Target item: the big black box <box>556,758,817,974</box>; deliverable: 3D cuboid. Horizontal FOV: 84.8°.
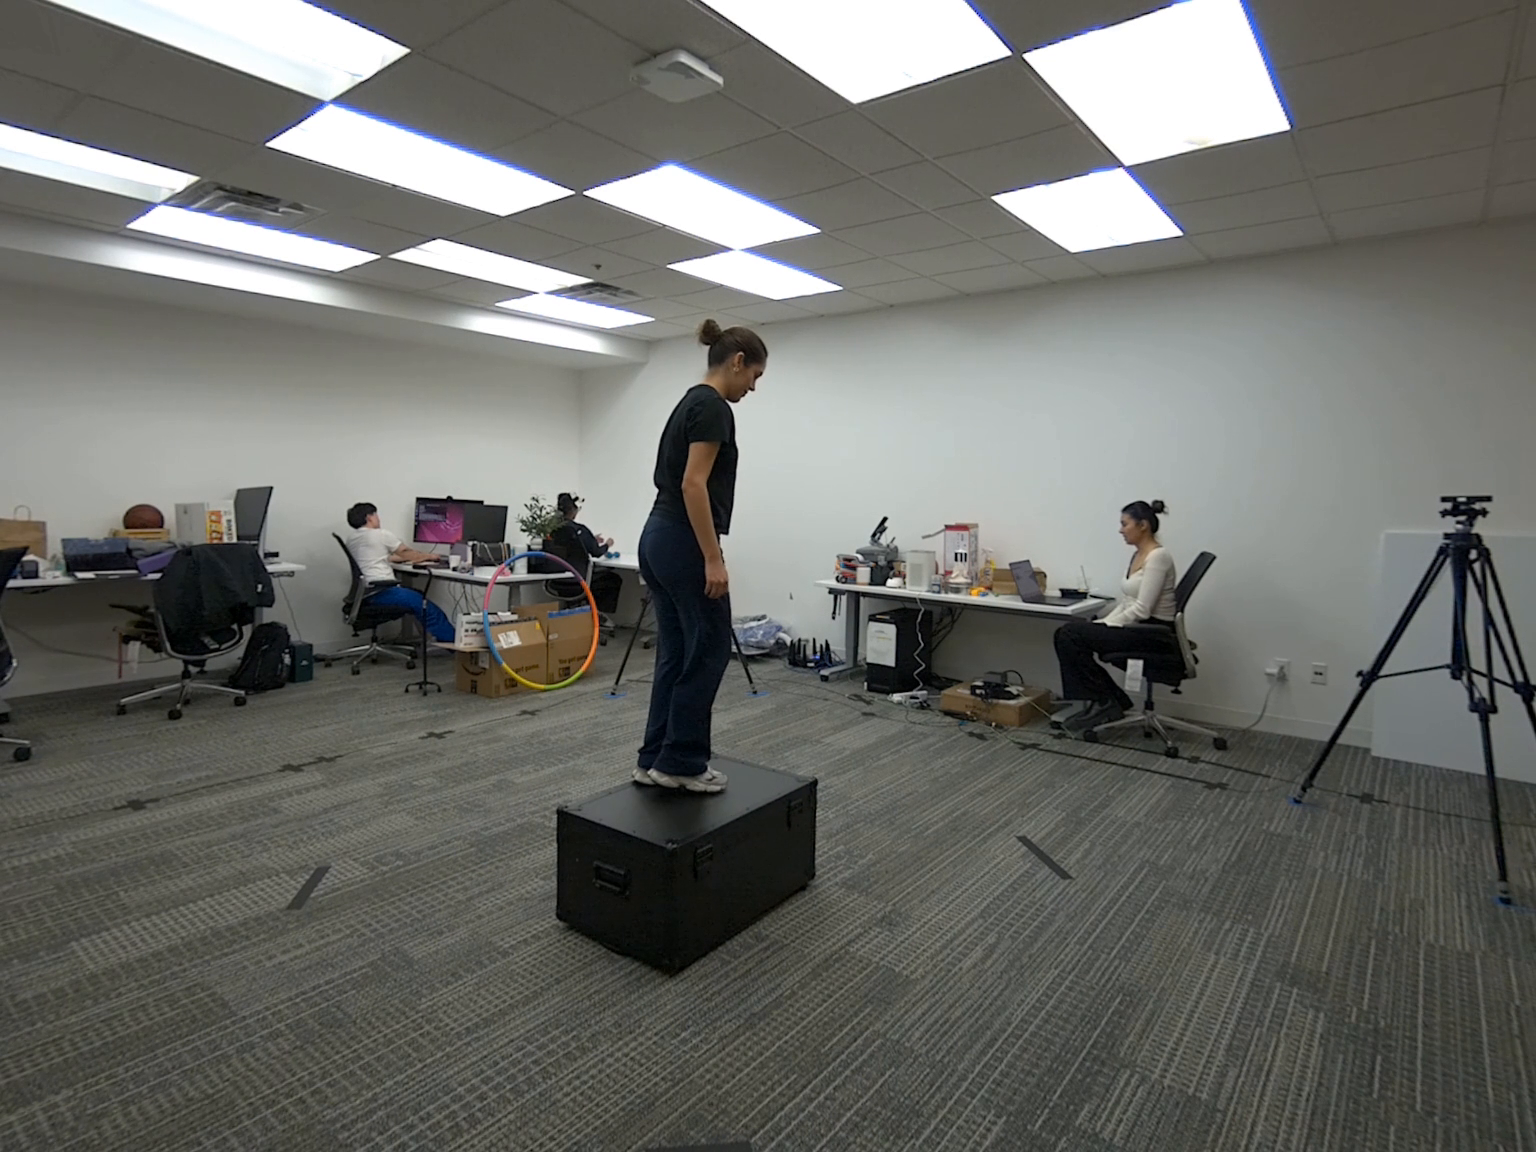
[{"bbox_3d":[-0.216,0.899,2.868,0.538,0.395,0.837,4,7,36],"label":"big black box"}]
